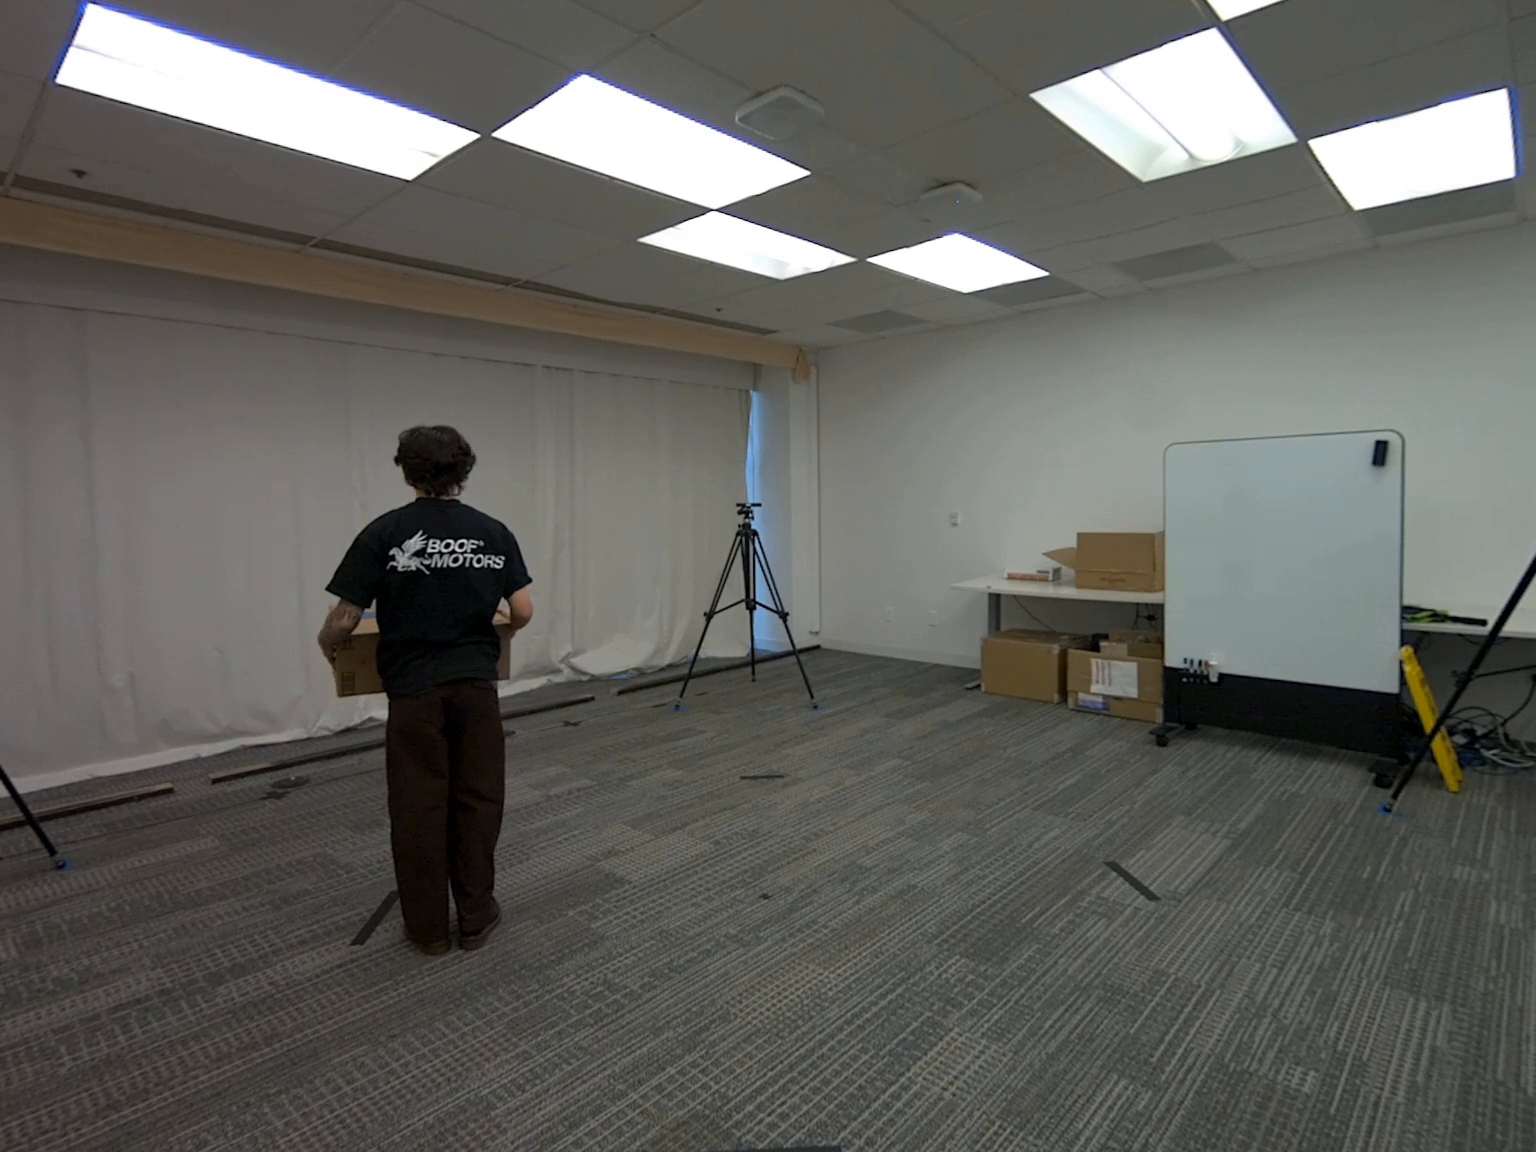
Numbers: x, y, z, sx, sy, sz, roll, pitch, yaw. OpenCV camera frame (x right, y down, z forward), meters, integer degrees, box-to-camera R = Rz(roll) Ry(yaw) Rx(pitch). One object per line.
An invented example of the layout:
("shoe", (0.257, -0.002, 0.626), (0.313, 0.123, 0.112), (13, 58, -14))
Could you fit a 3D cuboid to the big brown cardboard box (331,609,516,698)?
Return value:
("big brown cardboard box", (-1.237, 0.237, 3.024), (0.574, 0.231, 0.431), (-4, 14, -29))
